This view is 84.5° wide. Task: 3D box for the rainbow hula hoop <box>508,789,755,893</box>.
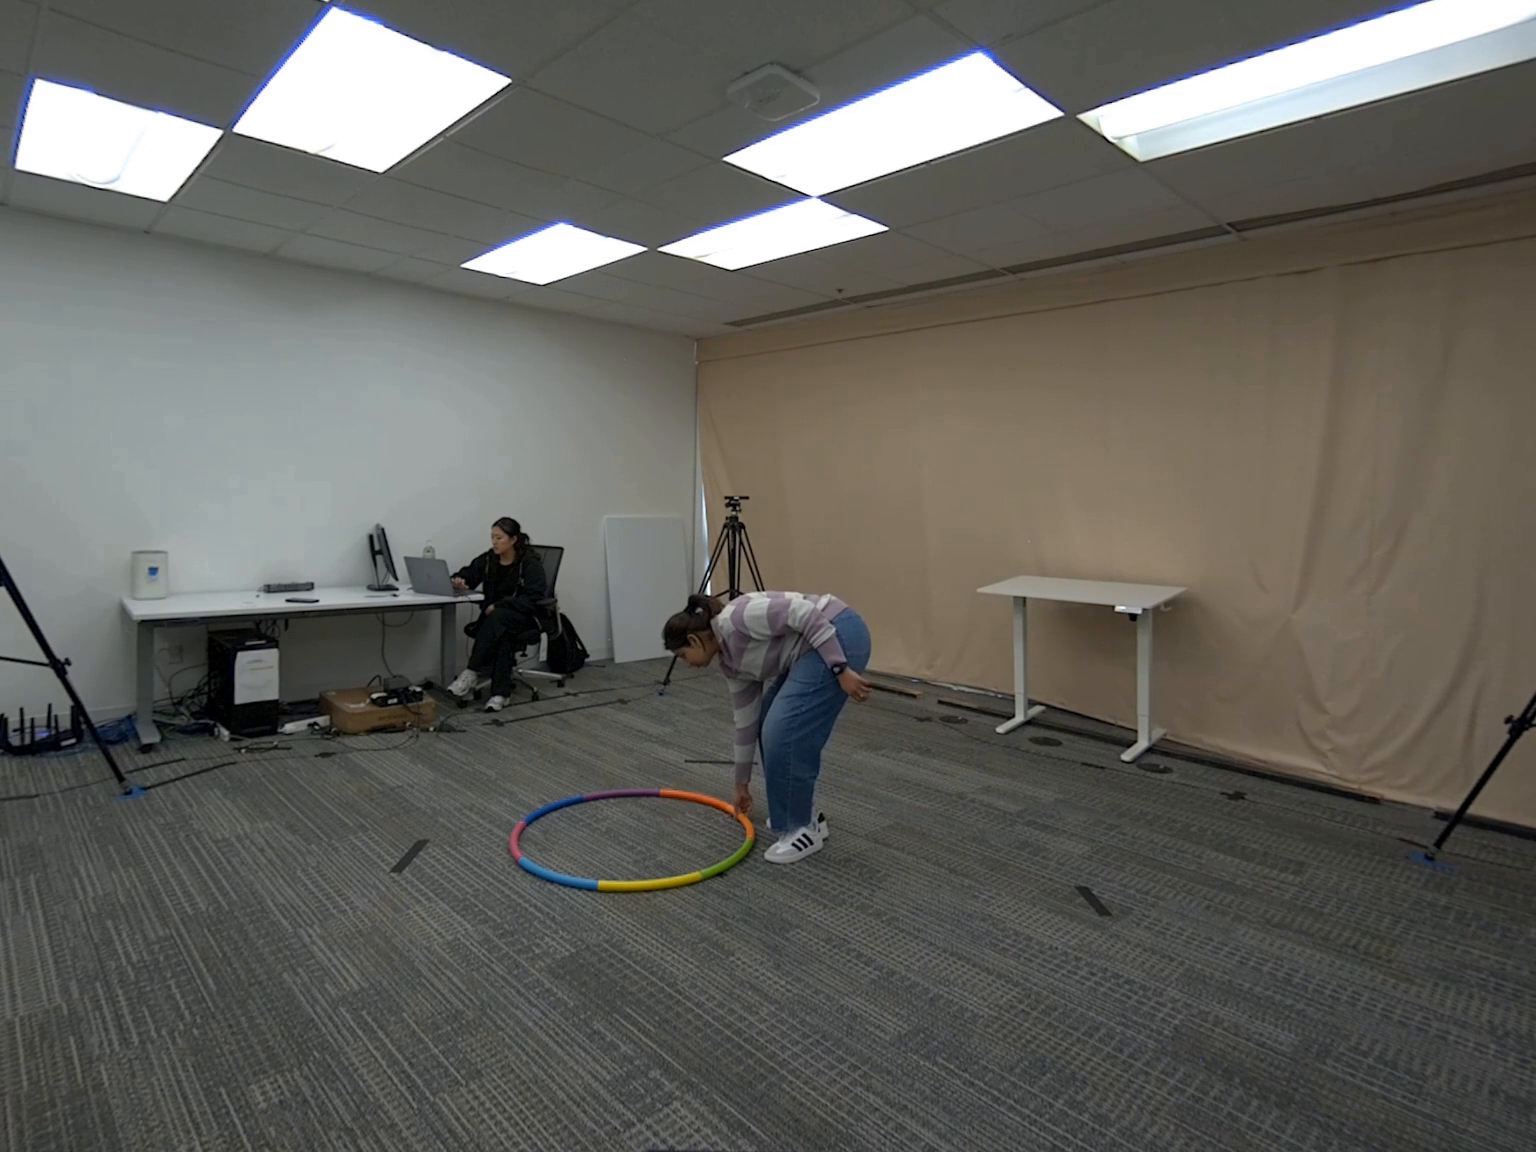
[{"bbox_3d":[-0.547,1.034,3.428,0.978,0.035,0.982,1,5,-1],"label":"rainbow hula hoop"}]
